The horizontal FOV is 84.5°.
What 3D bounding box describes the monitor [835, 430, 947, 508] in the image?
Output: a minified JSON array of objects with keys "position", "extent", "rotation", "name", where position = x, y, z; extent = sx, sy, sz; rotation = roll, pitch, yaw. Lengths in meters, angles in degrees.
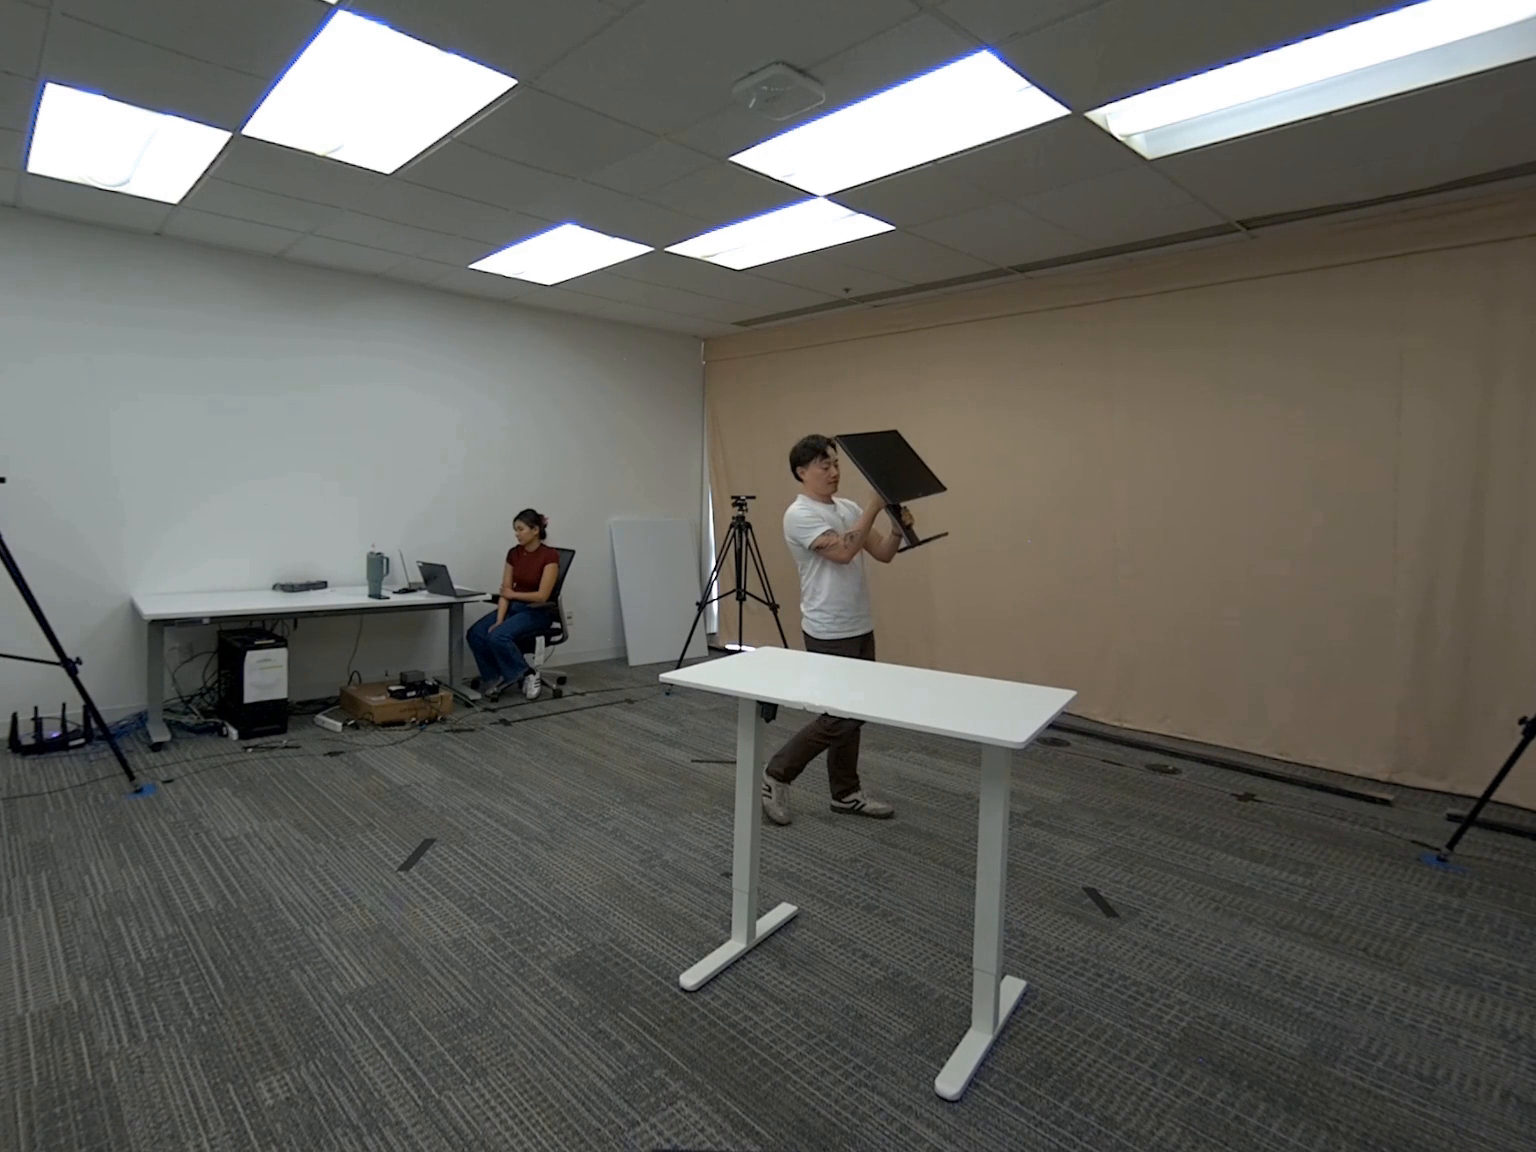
[{"position":[0.517,-0.359,3.450],"extent":[0.189,0.527,0.530],"rotation":[-31,-10,34],"name":"monitor"}]
